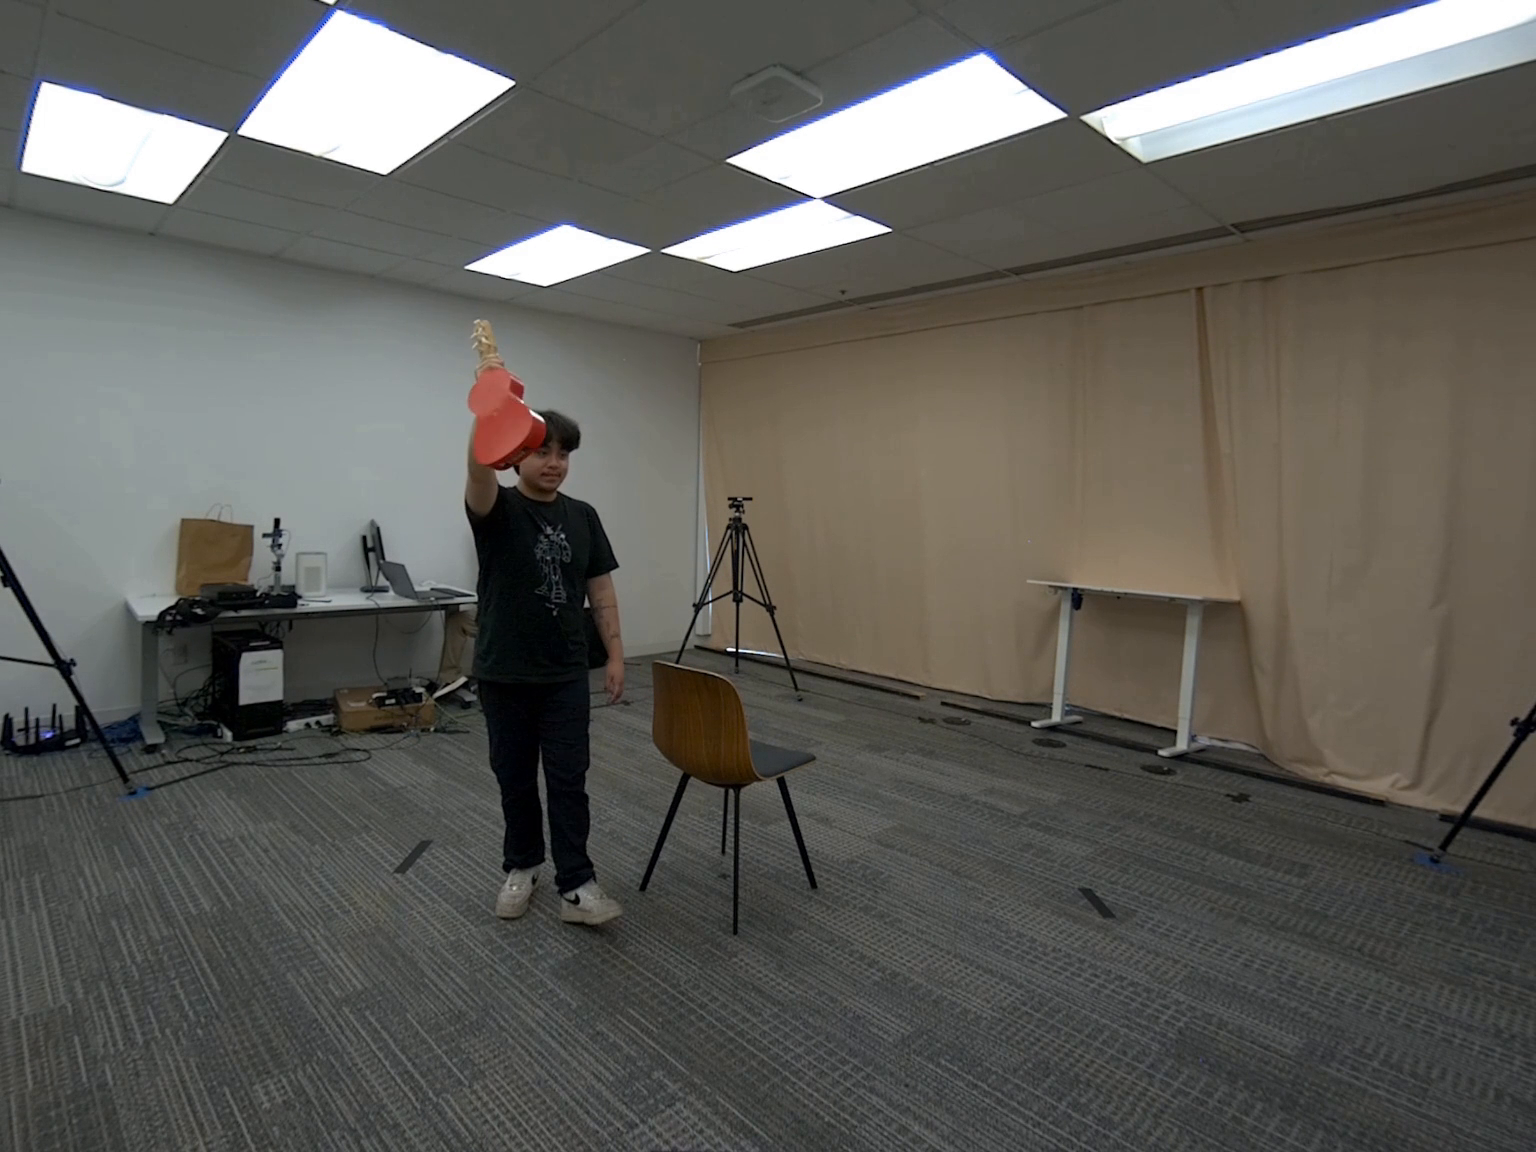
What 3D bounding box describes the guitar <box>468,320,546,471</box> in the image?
[{"bbox_3d":[-0.757,-0.489,2.269,0.193,0.511,0.069,-38,-28,12],"label":"guitar"}]
